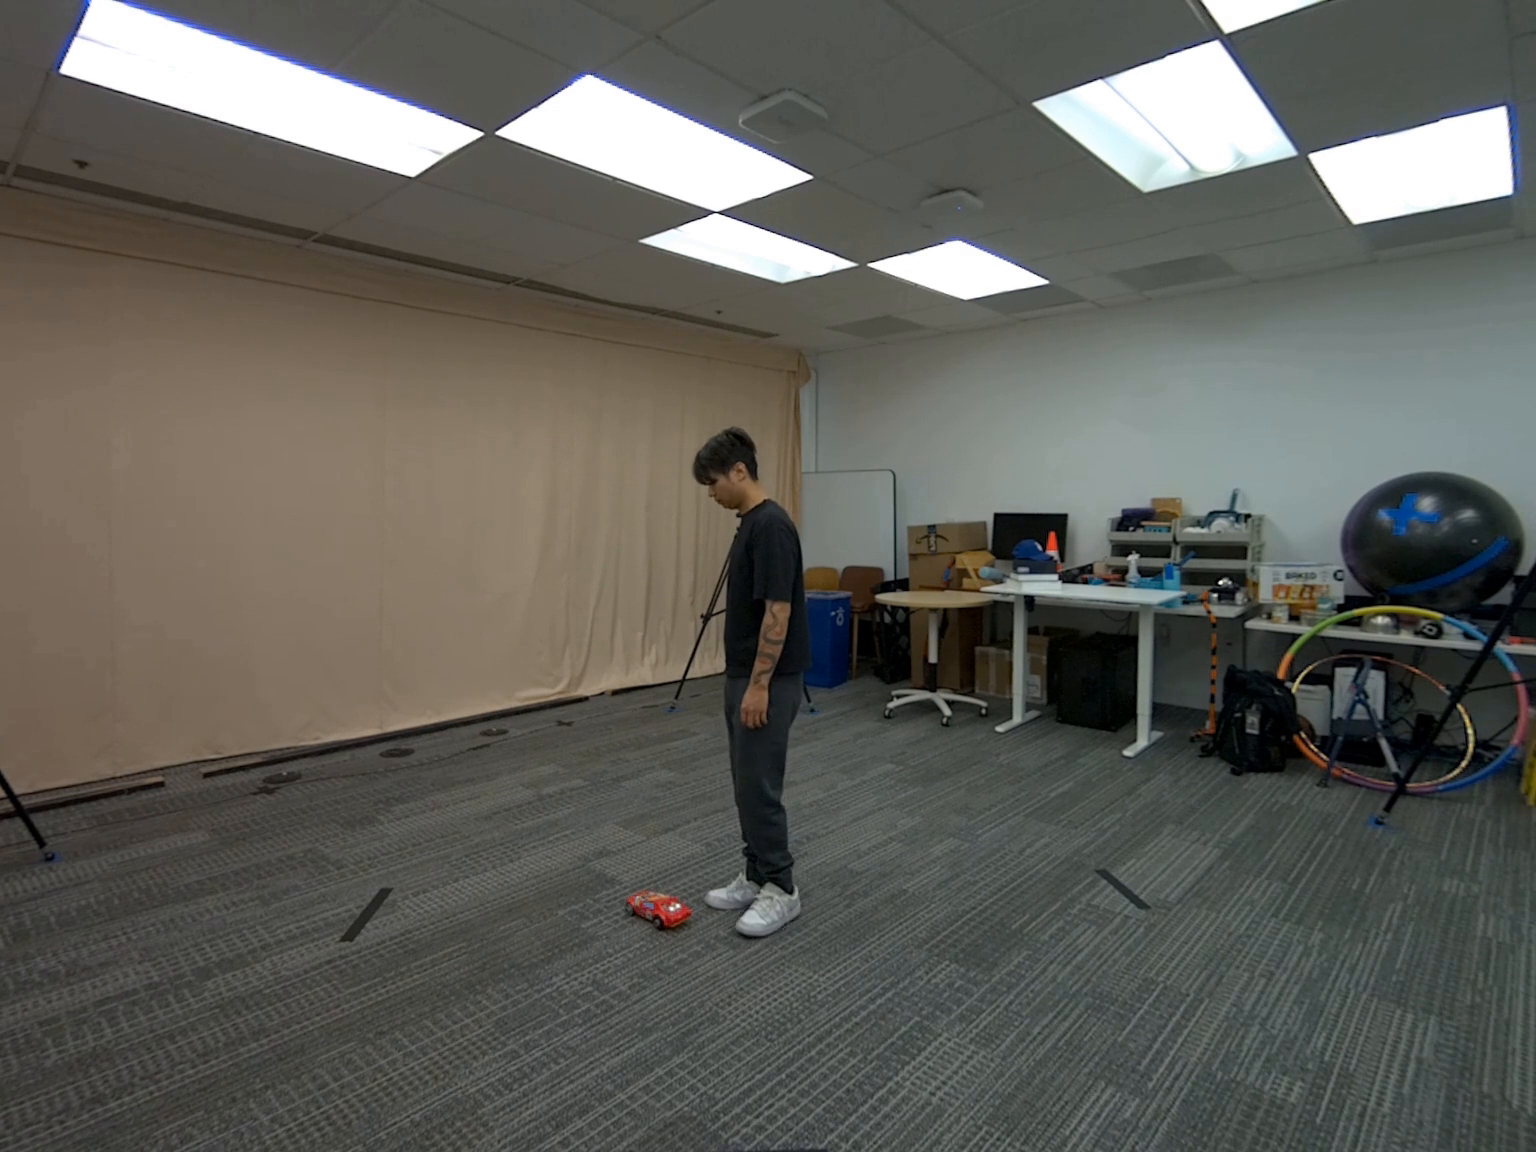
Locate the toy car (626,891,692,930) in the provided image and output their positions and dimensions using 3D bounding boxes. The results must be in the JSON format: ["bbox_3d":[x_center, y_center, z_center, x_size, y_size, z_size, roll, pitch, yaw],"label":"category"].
[{"bbox_3d":[-0.362,1.129,2.837,0.261,0.083,0.126,-12,-5,43],"label":"toy car"}]
